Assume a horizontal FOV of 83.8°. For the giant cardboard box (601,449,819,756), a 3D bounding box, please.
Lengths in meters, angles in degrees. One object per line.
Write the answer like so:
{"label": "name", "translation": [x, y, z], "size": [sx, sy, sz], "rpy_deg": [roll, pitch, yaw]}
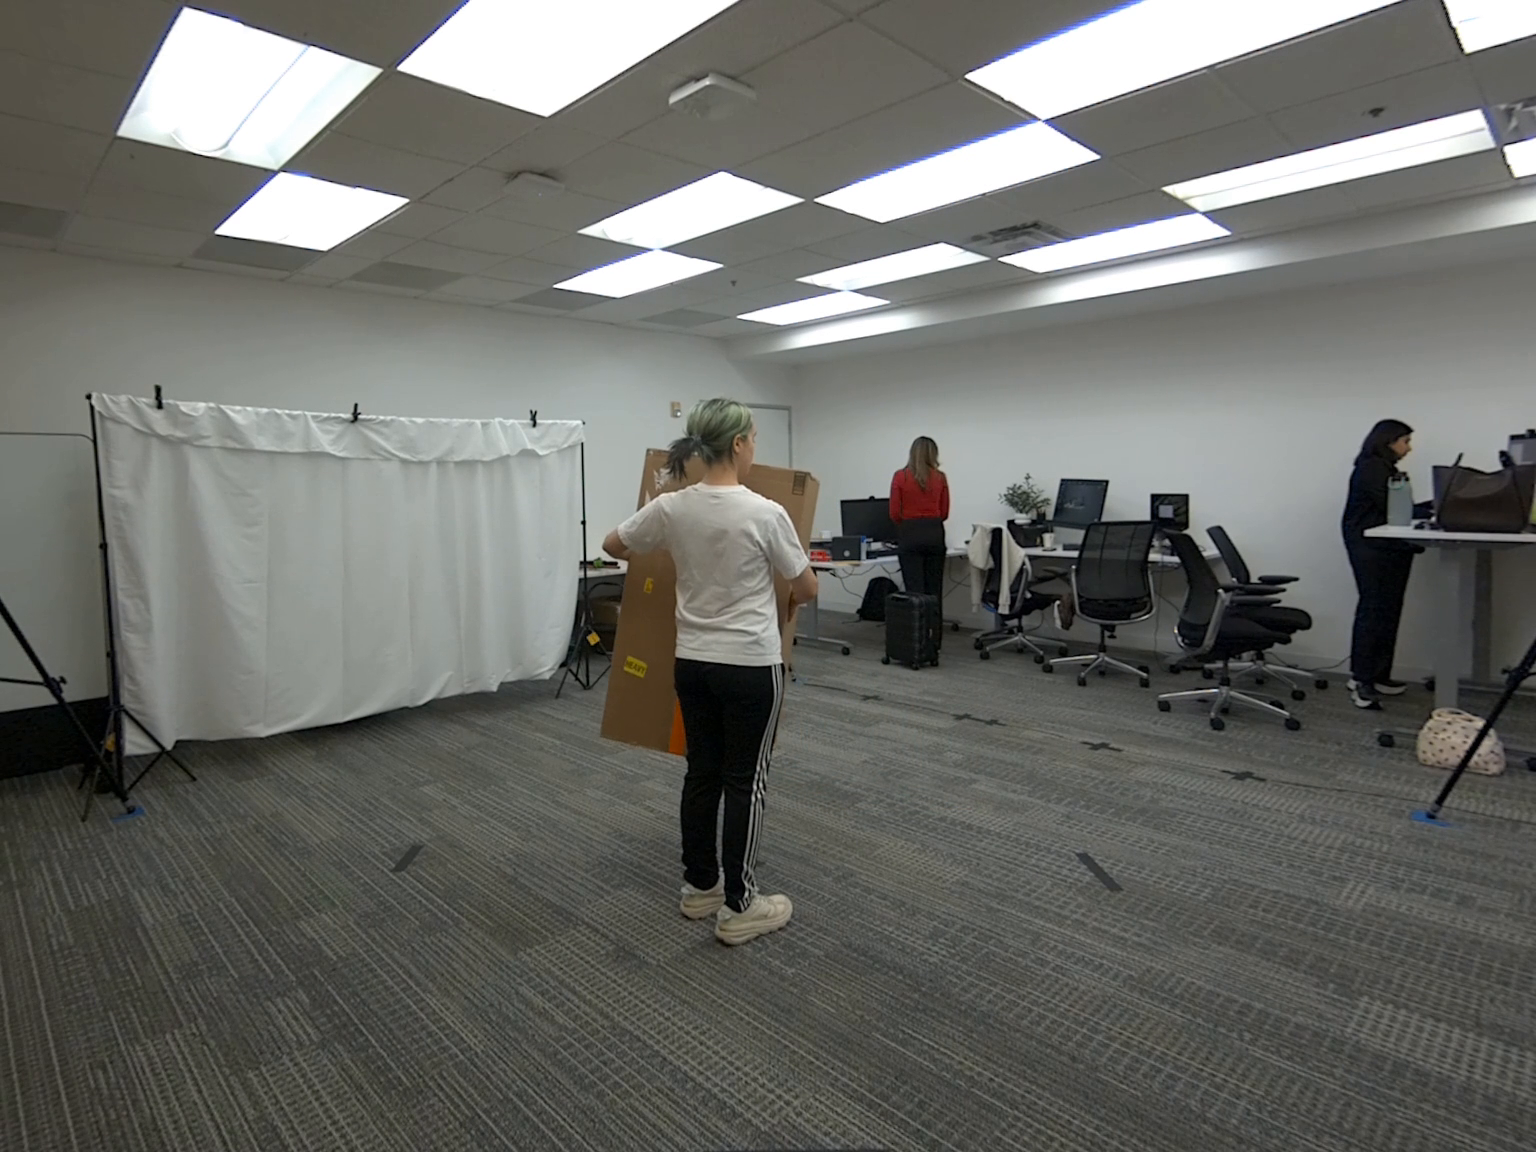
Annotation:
{"label": "giant cardboard box", "translation": [-0.186, 0.105, 3.114], "size": [0.585, 1.025, 0.421], "rpy_deg": [9, 1, 11]}
